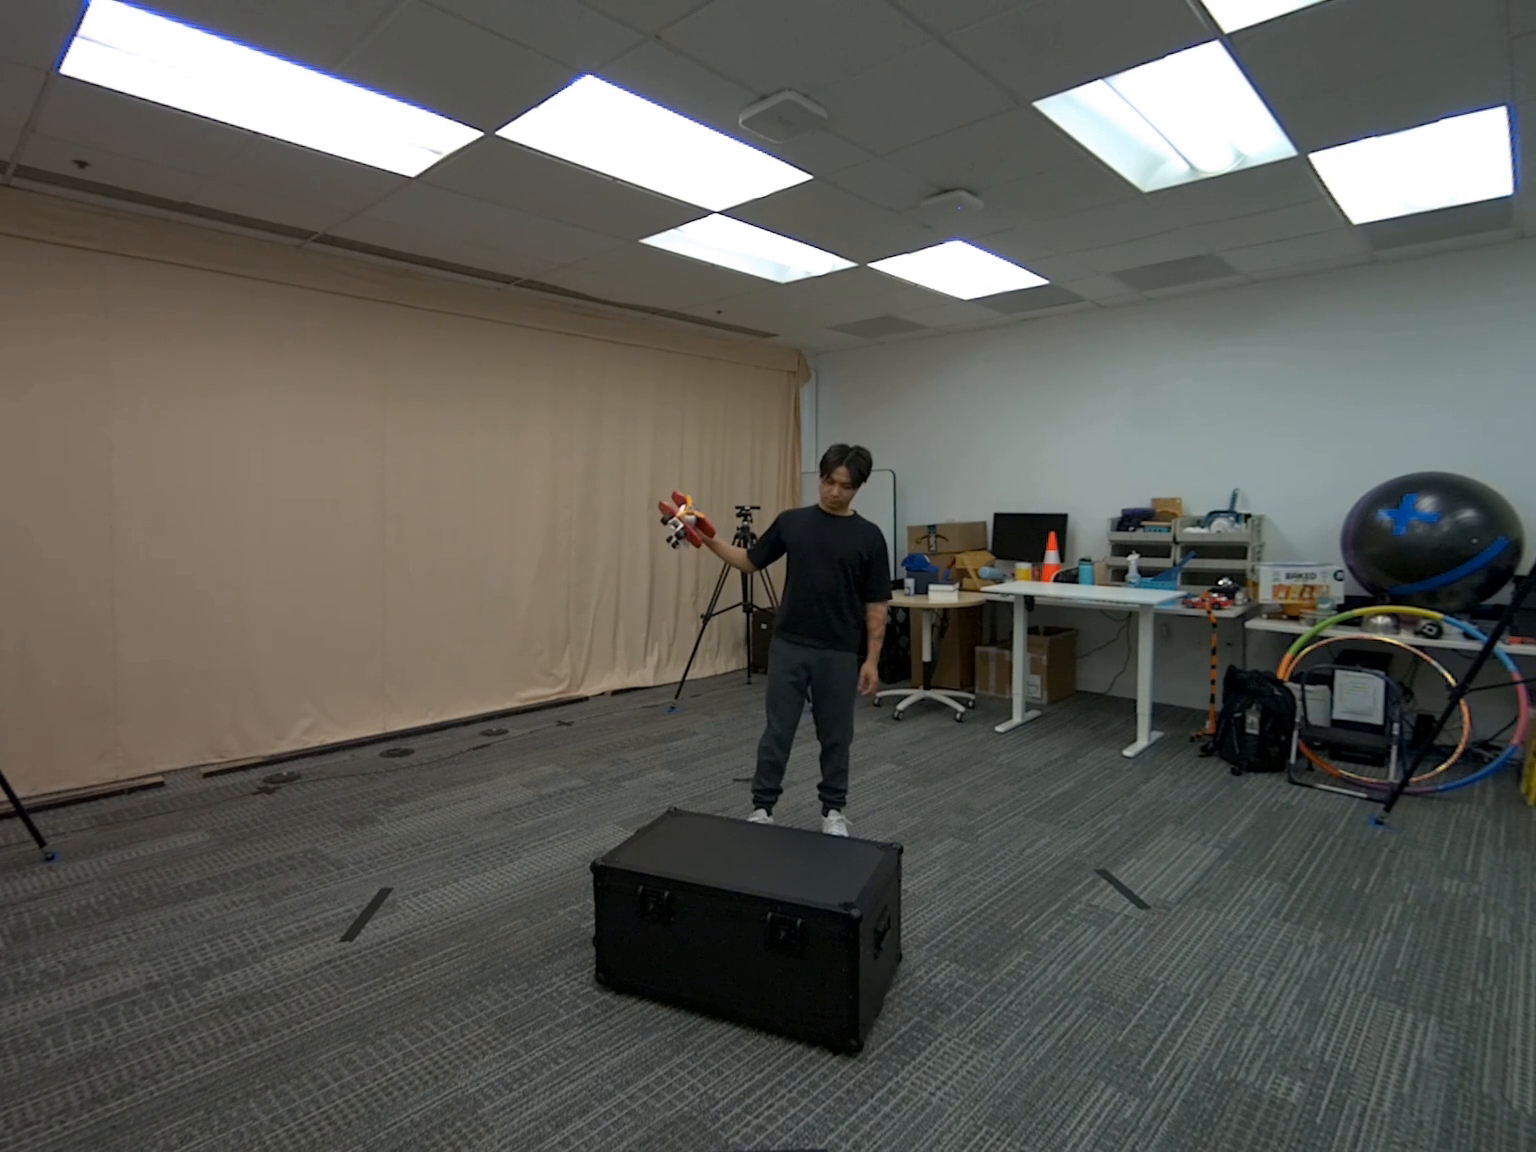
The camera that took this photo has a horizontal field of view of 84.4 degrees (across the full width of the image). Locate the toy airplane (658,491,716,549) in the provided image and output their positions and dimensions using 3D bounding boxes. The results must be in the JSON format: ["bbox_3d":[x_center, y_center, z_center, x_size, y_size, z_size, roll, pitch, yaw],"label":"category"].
[{"bbox_3d":[-0.368,-0.221,3.517,0.155,0.247,0.265,-40,16,-14],"label":"toy airplane"}]
